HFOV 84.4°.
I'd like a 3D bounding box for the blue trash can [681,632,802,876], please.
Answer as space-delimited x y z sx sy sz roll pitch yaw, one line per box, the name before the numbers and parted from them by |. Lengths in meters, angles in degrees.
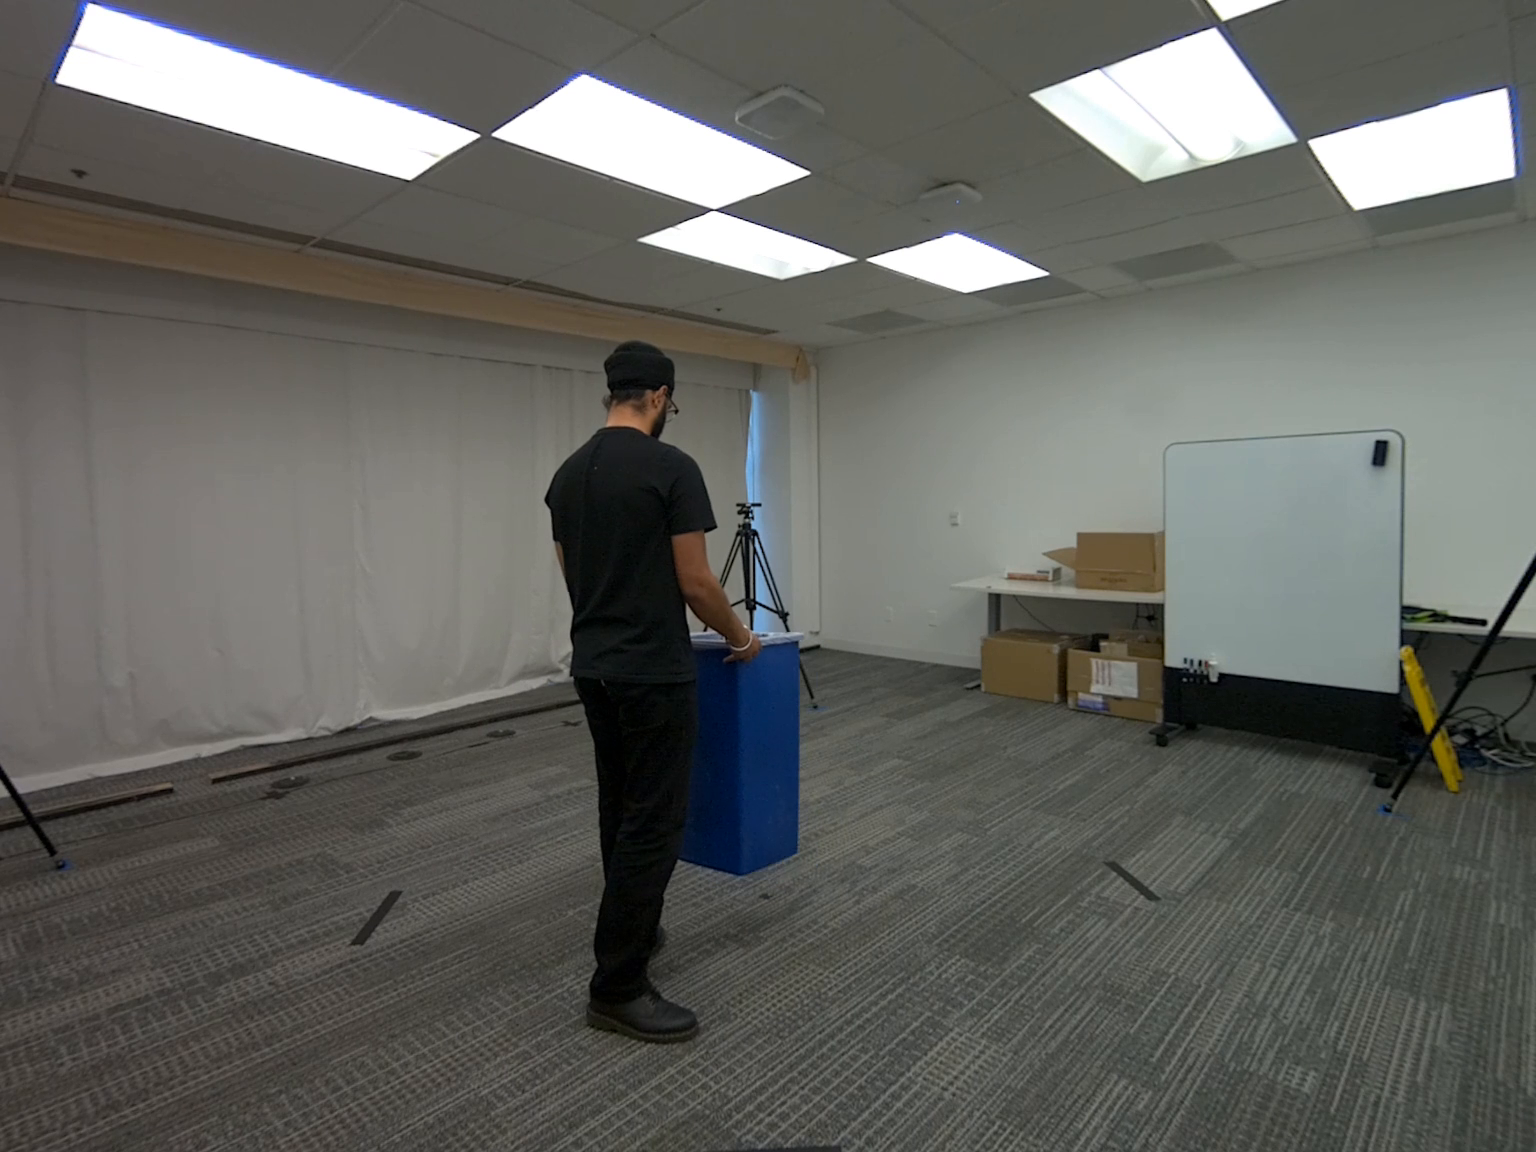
blue trash can | -0.111 0.555 2.742 0.390 0.715 0.362 -3 -3 39
